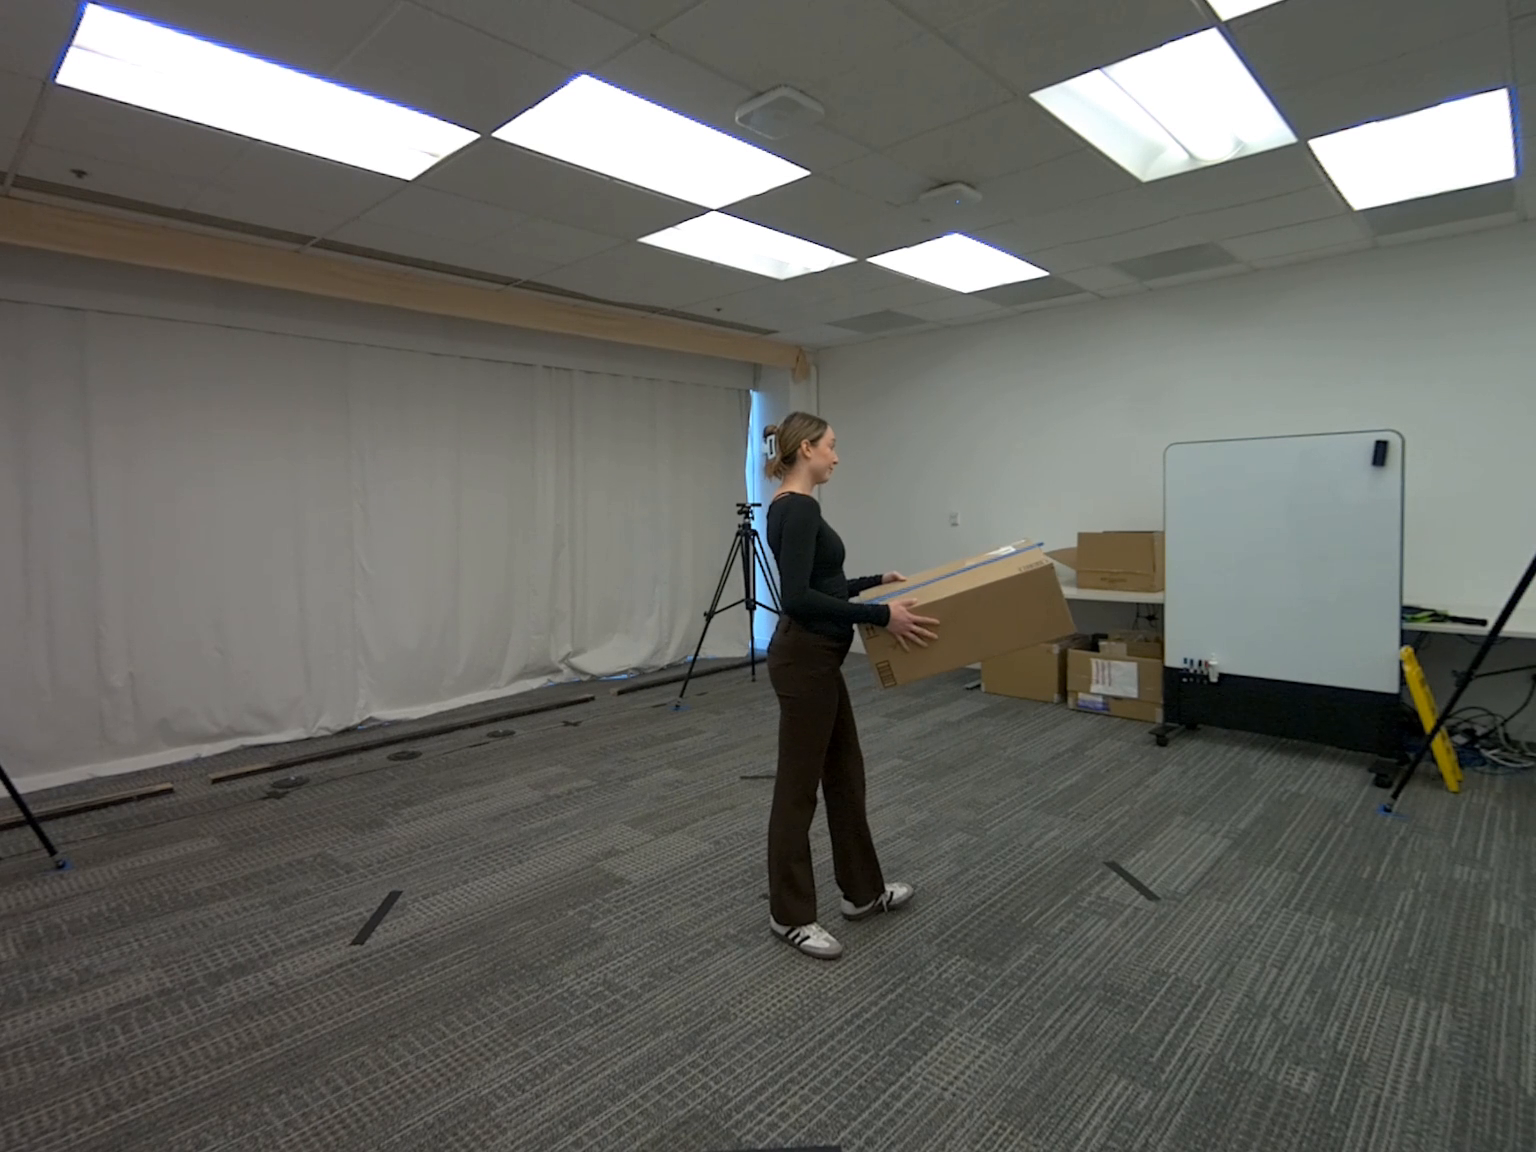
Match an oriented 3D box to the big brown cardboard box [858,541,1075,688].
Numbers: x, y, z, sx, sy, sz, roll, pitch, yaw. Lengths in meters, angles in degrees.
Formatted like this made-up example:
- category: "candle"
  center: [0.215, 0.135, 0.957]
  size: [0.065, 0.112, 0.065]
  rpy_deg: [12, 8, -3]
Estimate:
- category: "big brown cardboard box"
  center: [0.591, 0.104, 2.569]
  size: [0.595, 0.232, 0.416]
  rpy_deg: [-20, 8, 12]
